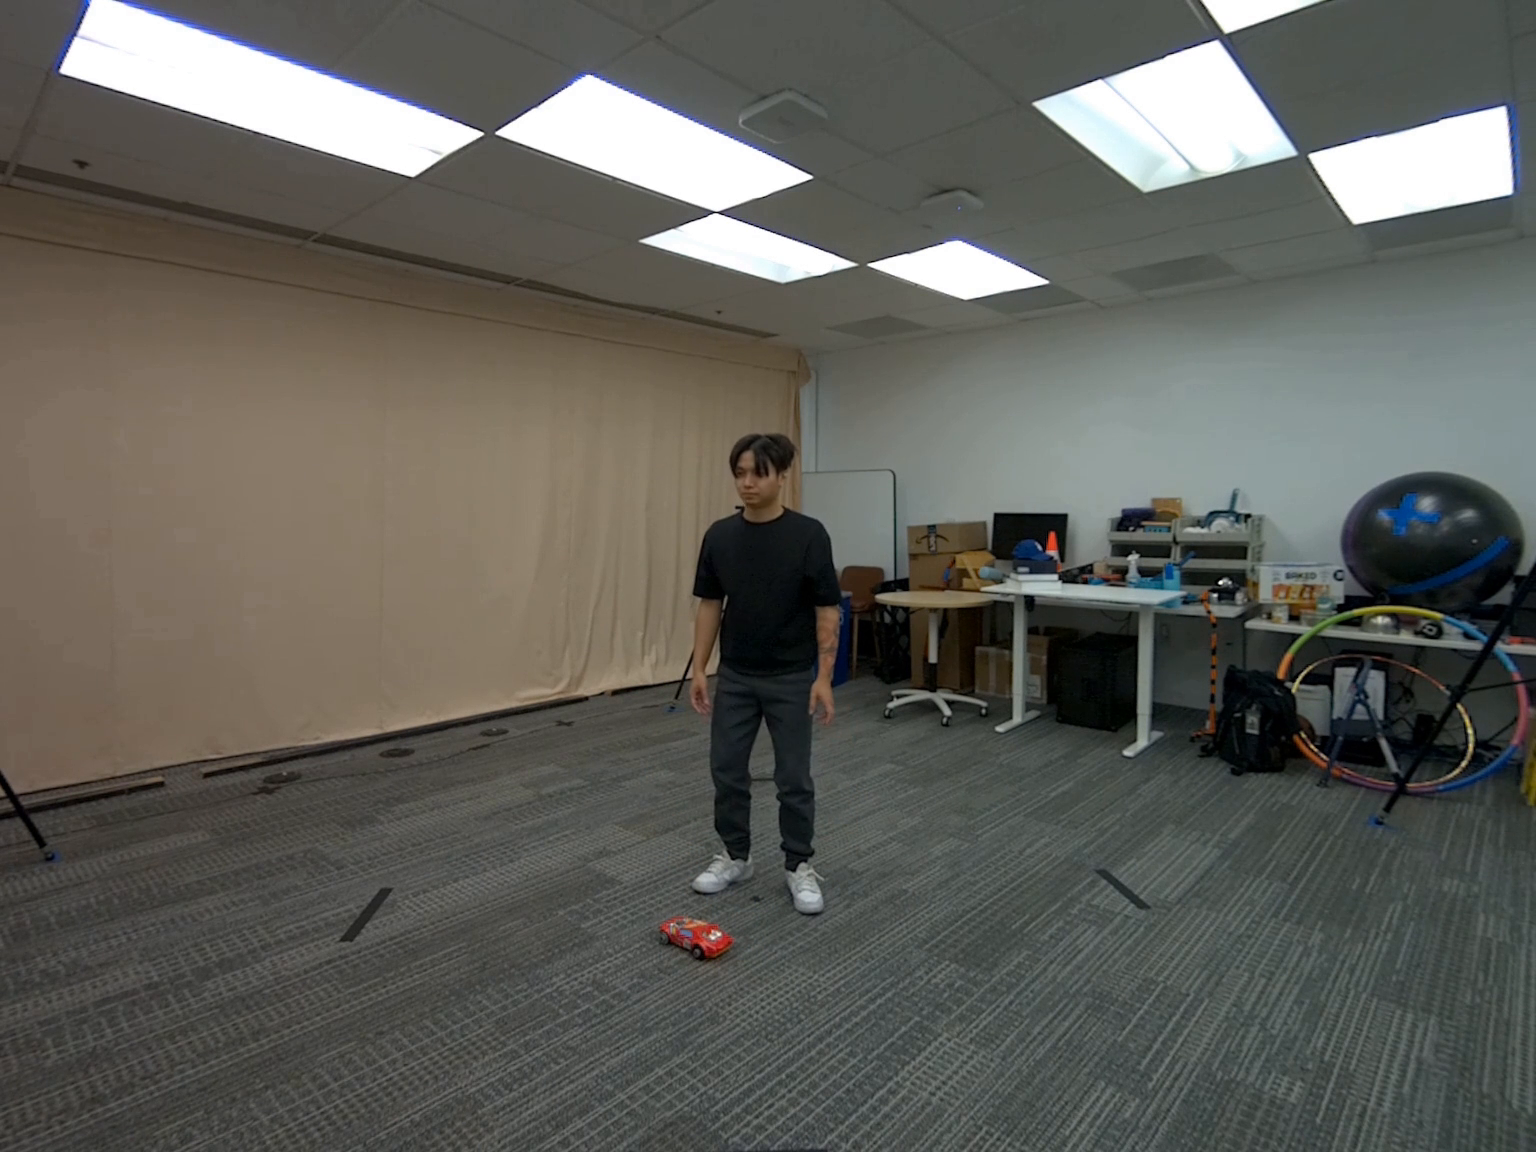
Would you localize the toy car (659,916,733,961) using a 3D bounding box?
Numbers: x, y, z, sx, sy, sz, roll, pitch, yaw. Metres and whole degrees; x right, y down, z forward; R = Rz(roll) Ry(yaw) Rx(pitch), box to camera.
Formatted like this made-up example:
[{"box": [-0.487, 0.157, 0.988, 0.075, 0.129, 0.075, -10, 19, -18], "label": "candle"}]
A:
[{"box": [-0.223, 1.140, 2.656, 0.262, 0.083, 0.126, -8, -3, 40], "label": "toy car"}]
